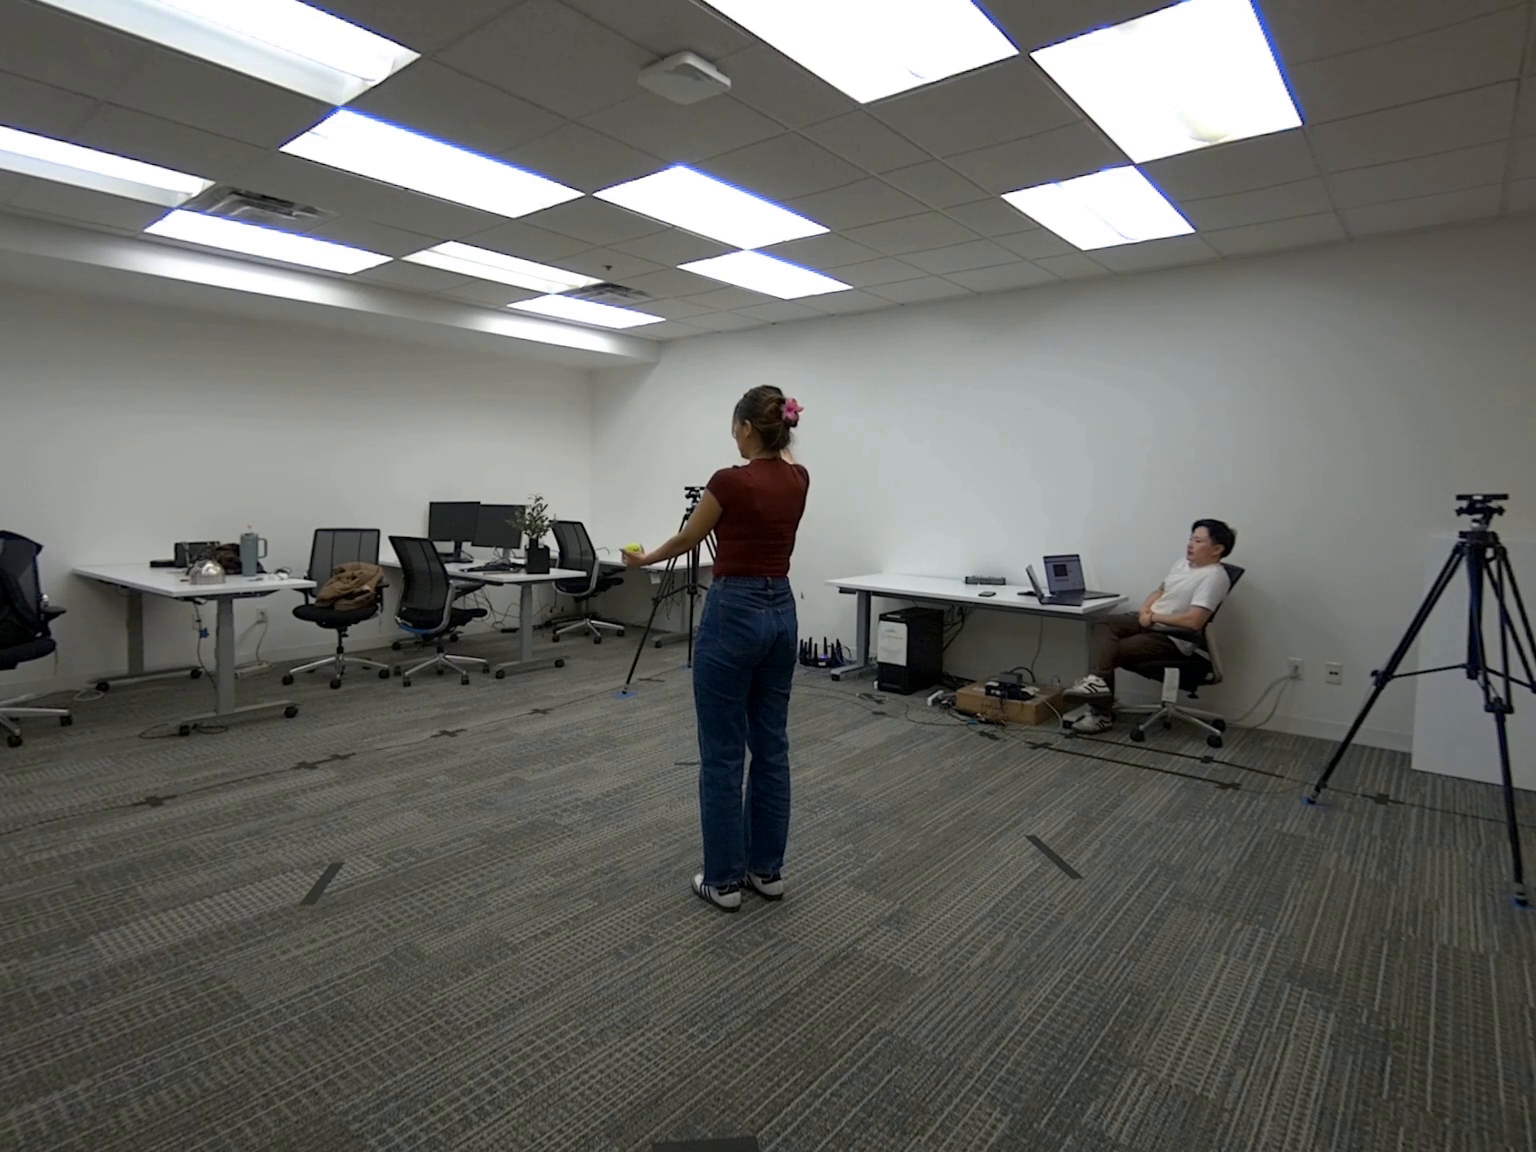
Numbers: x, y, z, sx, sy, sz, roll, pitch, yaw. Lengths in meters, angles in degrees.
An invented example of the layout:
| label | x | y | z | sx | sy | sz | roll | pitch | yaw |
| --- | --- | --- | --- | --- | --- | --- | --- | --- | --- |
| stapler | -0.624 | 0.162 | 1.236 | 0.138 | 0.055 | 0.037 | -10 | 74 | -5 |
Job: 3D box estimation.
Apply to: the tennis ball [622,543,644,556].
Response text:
| label | x | y | z | sx | sy | sz | roll | pitch | yaw |
| --- | --- | --- | --- | --- | --- | --- | --- | --- | --- |
| tennis ball | -0.508 | -0.103 | 3.183 | 0.066 | 0.066 | 0.067 | 1 | 4 | -2 |
